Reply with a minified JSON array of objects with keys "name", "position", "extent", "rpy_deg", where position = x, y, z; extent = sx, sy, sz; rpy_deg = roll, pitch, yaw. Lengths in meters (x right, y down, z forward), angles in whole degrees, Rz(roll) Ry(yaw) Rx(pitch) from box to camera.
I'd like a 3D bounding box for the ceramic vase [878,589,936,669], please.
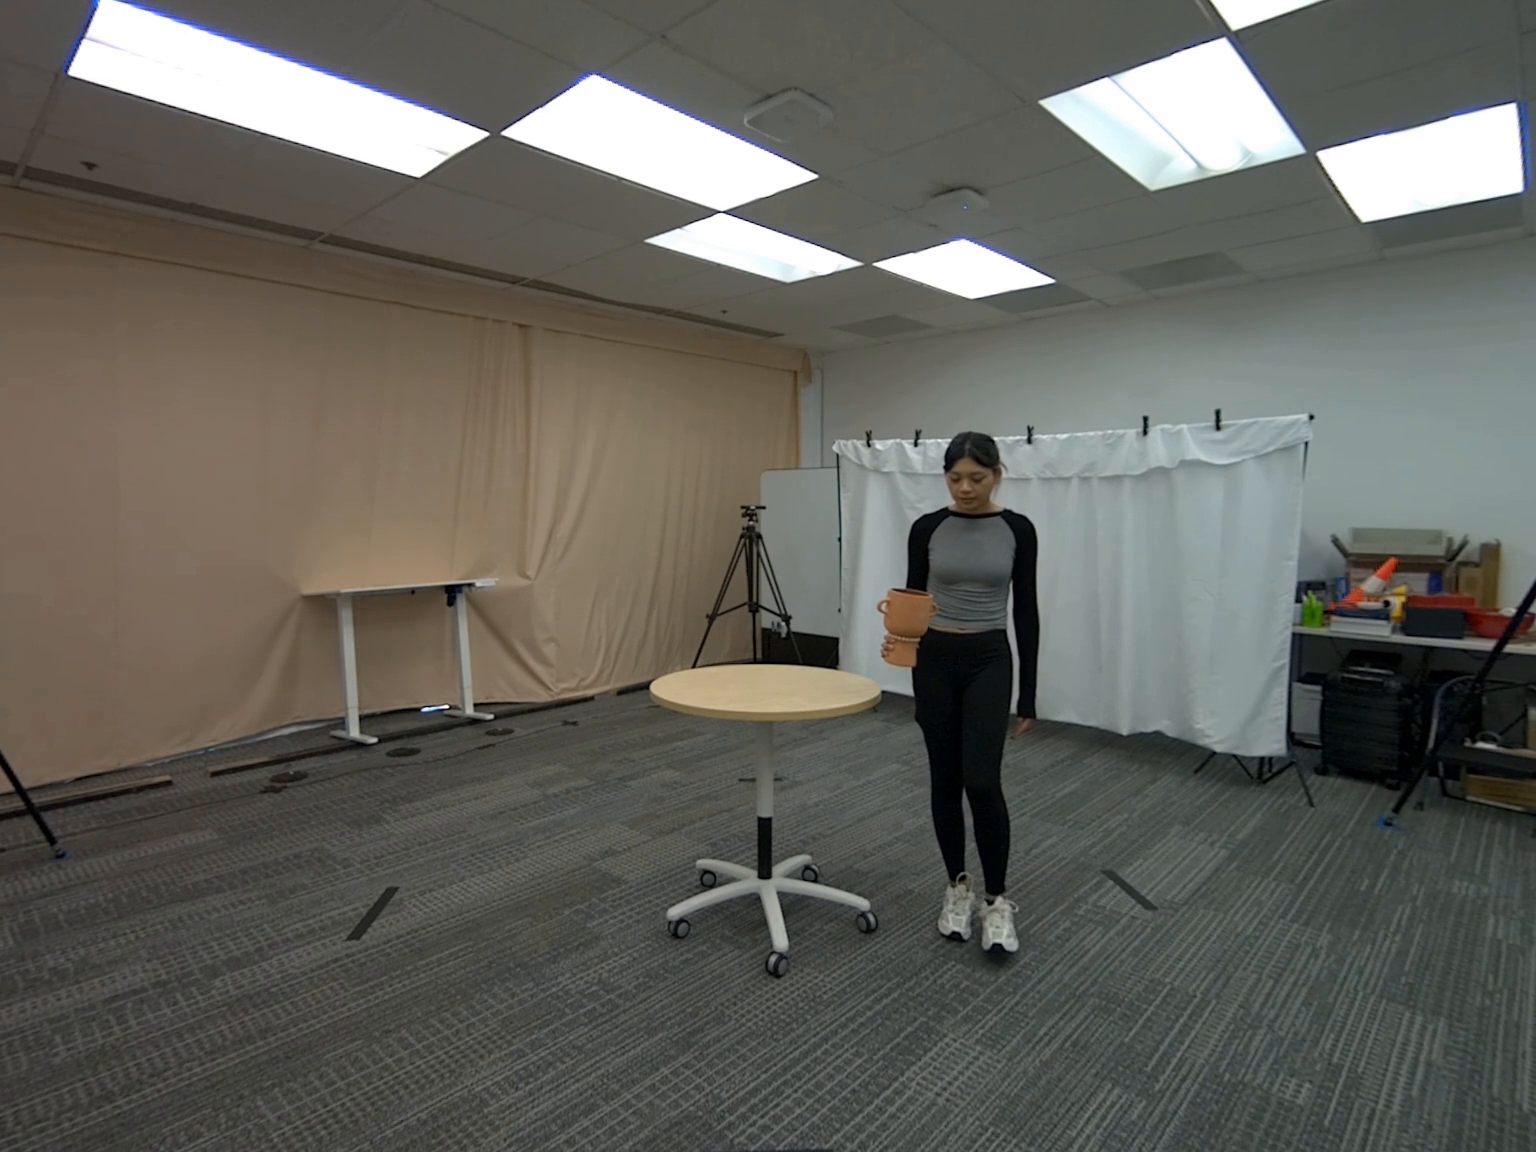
[{"name":"ceramic vase","position":[0.422,0.154,2.565],"extent":[0.163,0.219,0.132],"rpy_deg":[9,8,24]}]
